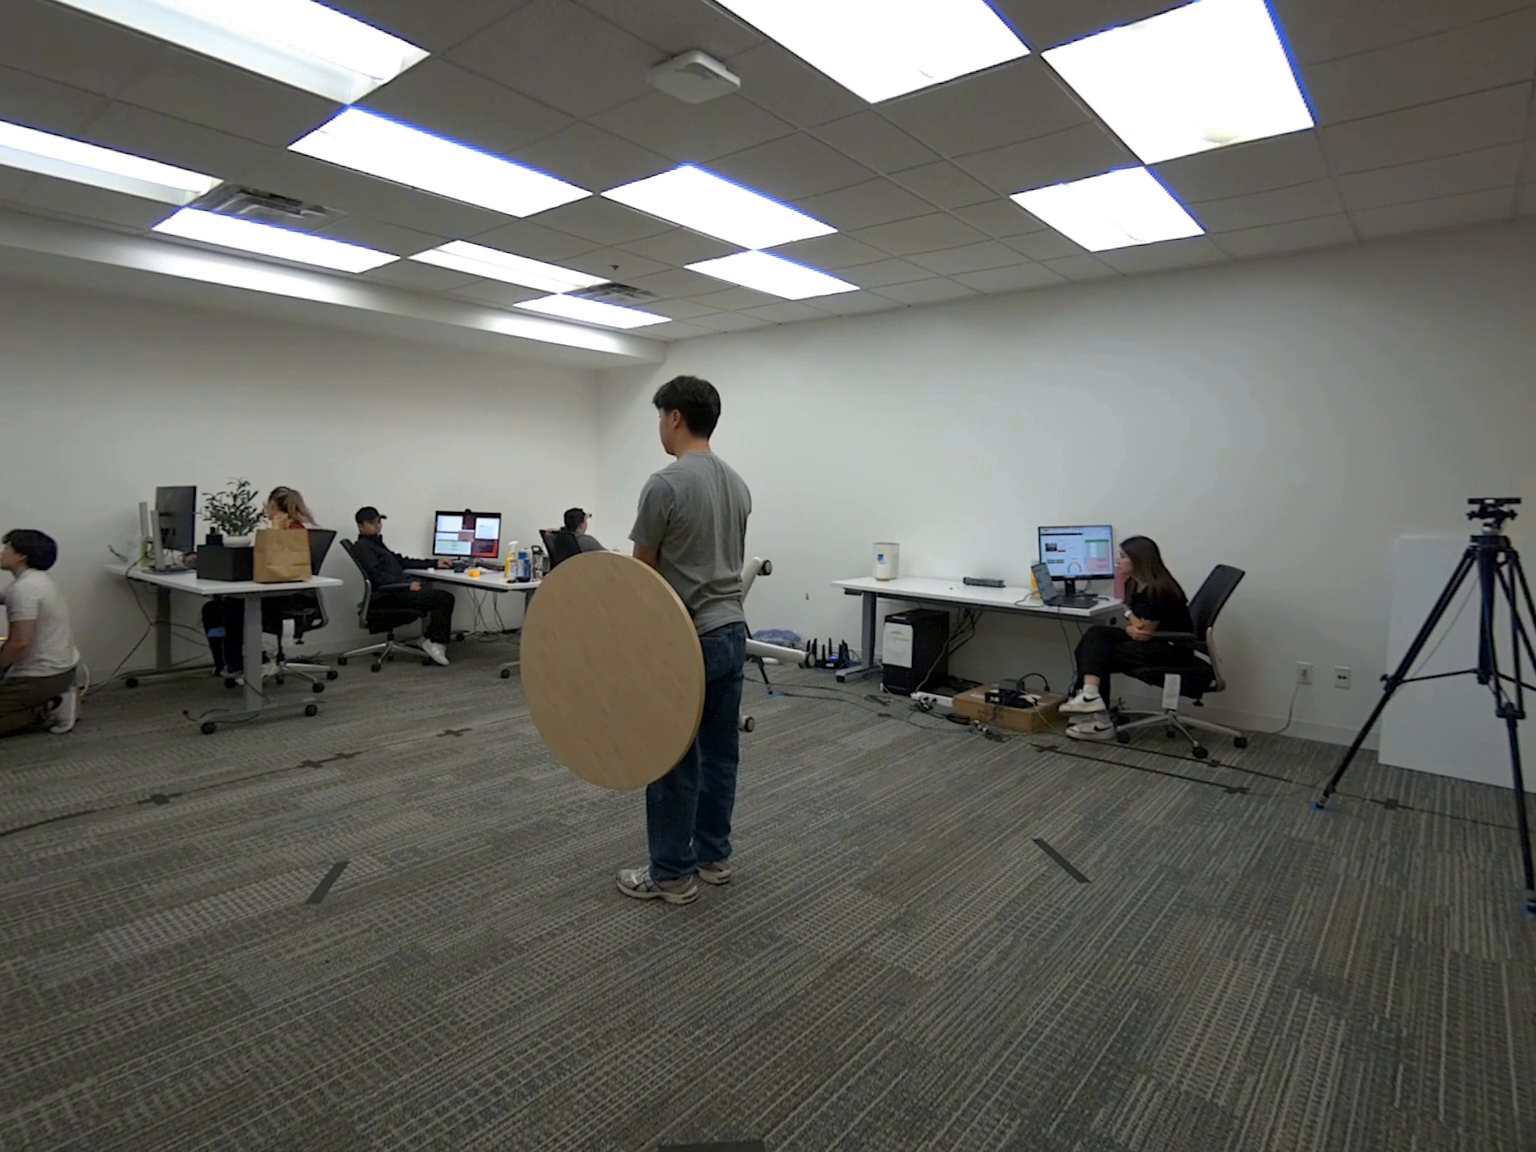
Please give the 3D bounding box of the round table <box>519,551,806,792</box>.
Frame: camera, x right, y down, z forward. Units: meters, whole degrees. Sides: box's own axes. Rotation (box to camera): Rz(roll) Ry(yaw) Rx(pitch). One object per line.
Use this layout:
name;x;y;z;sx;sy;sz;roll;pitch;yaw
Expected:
round table;-0.344;0.272;3.061;0.787;0.761;0.773;3;5;32
